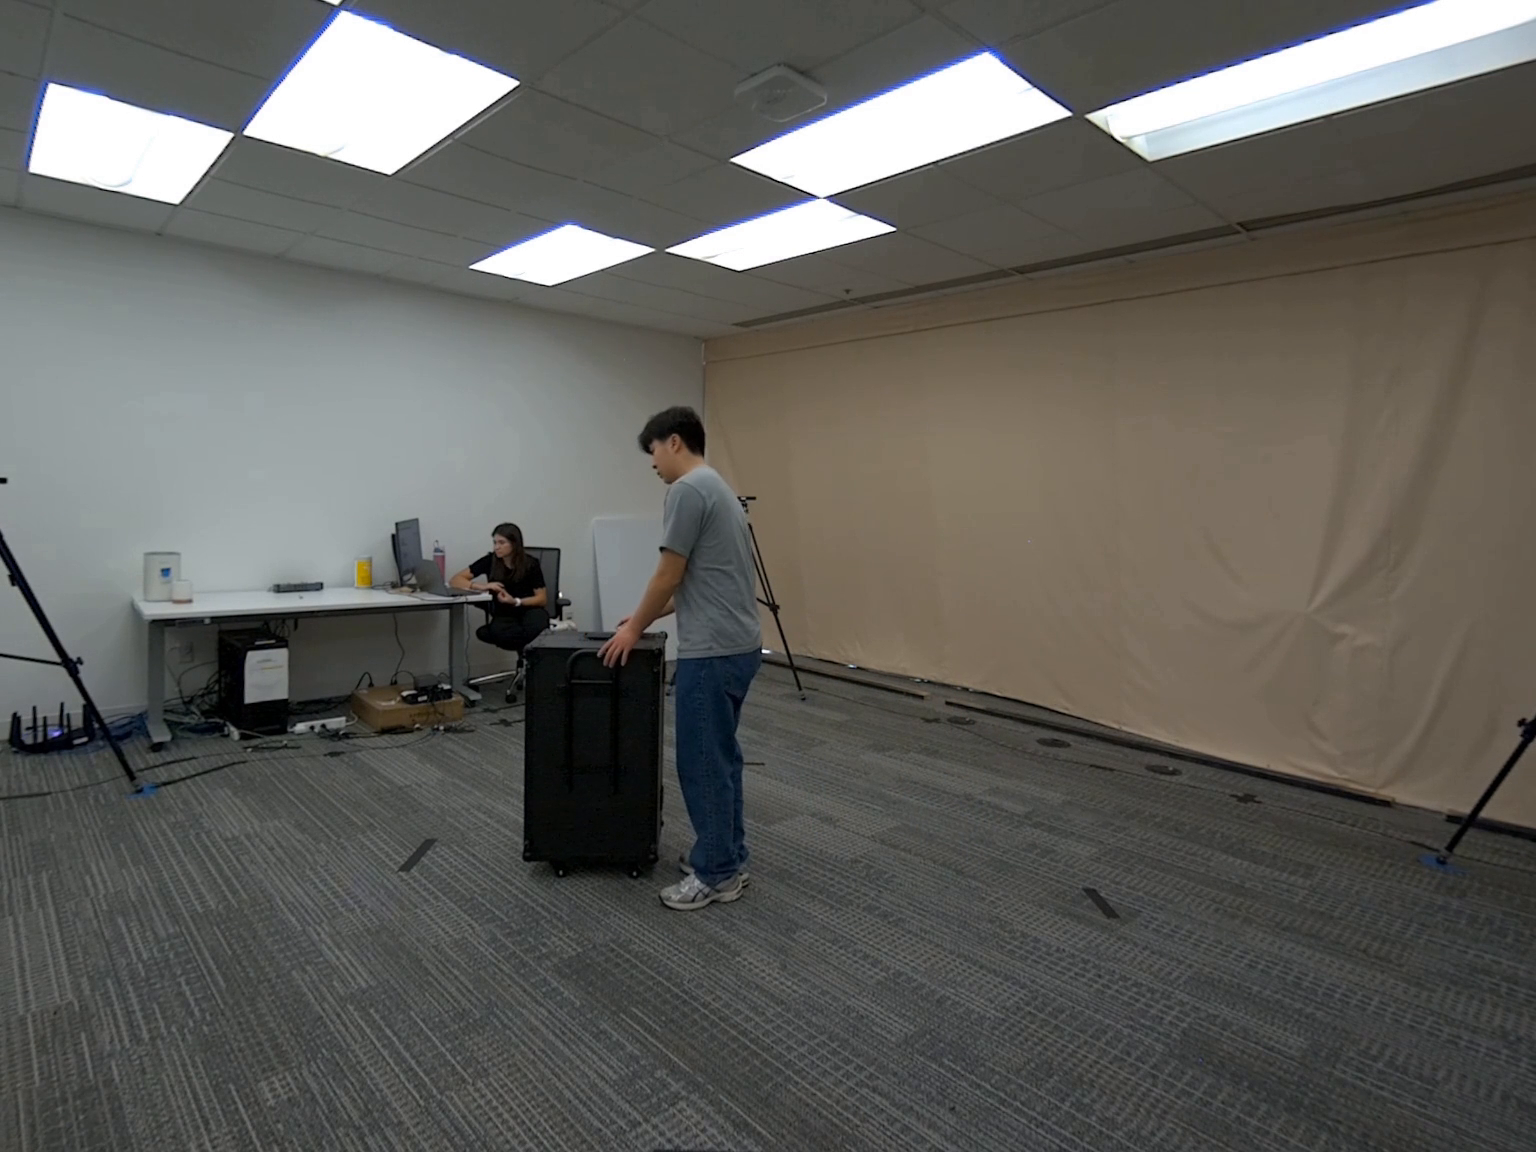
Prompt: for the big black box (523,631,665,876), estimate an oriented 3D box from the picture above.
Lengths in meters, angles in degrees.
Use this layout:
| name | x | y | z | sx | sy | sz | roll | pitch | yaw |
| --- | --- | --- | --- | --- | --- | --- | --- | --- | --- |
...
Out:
| name | x | y | z | sx | sy | sz | roll | pitch | yaw |
| --- | --- | --- | --- | --- | --- | --- | --- | --- | --- |
| big black box | -0.643 | 0.670 | 3.171 | 0.520 | 0.859 | 0.398 | 1 | 4 | -2 |
